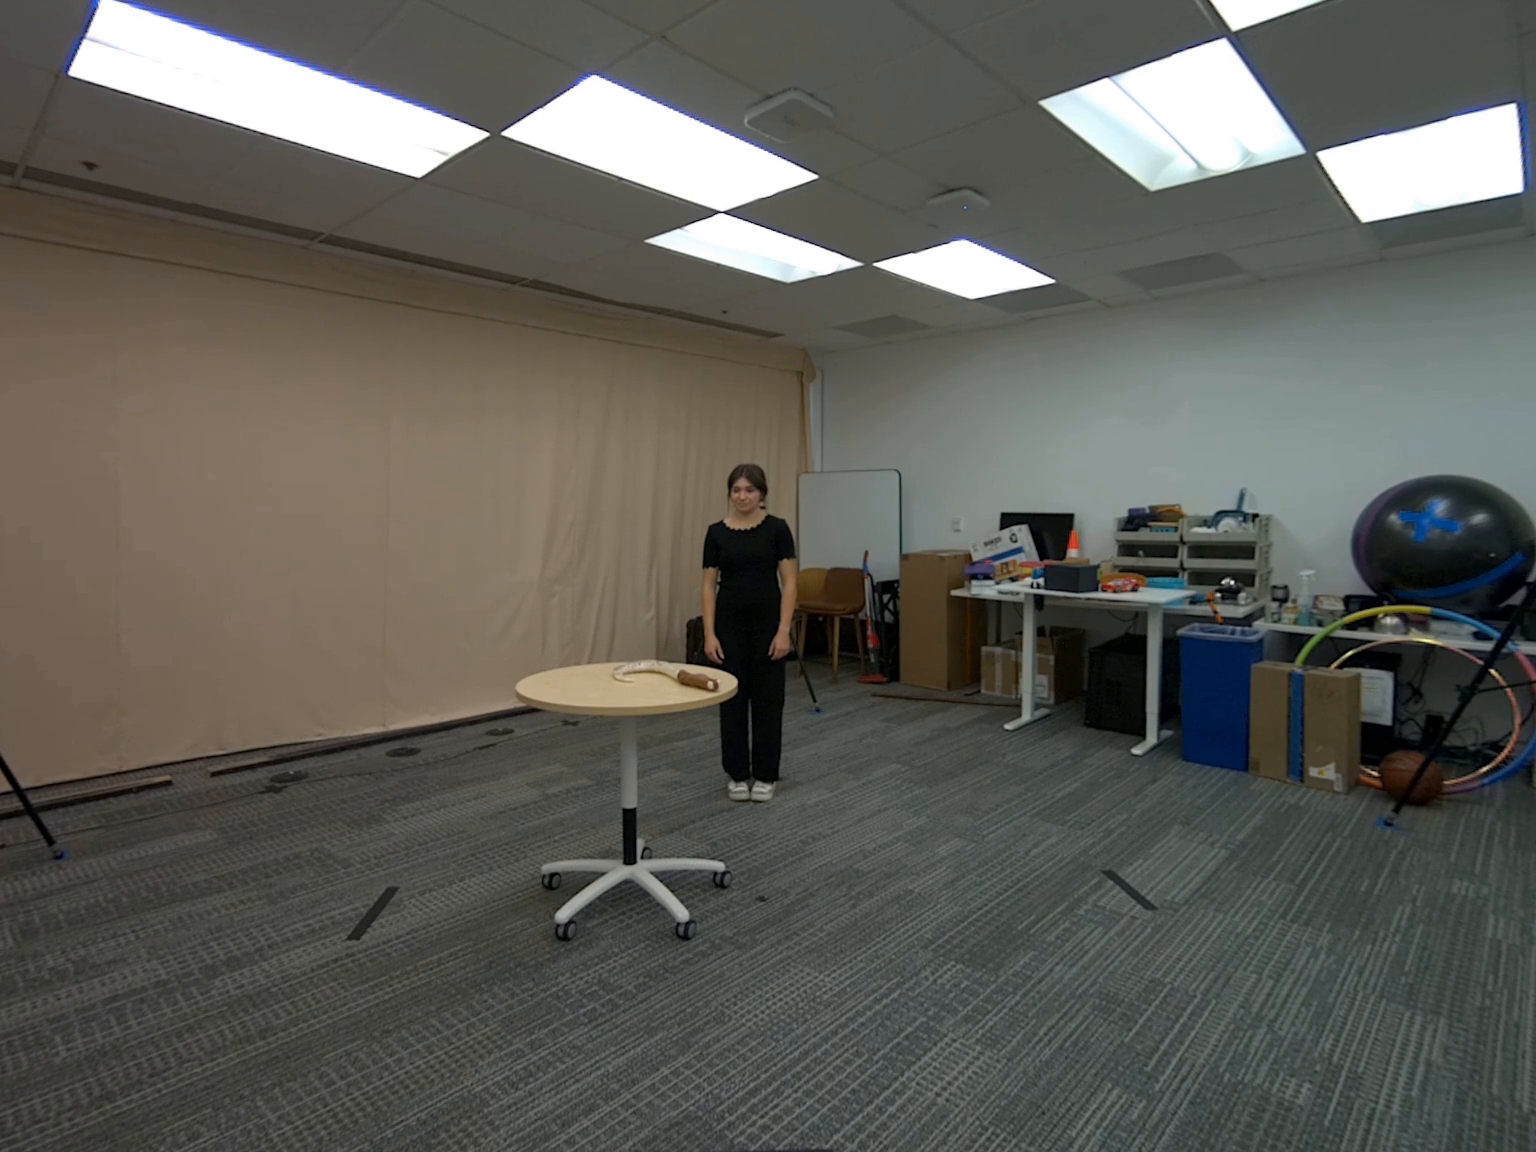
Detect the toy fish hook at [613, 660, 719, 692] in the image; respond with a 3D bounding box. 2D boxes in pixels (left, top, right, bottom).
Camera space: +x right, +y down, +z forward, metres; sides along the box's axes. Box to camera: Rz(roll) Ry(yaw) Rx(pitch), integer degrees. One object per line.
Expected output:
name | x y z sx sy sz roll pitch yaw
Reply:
toy fish hook | -0.359 0.361 2.933 0.219 0.048 0.523 -15 12 -36
